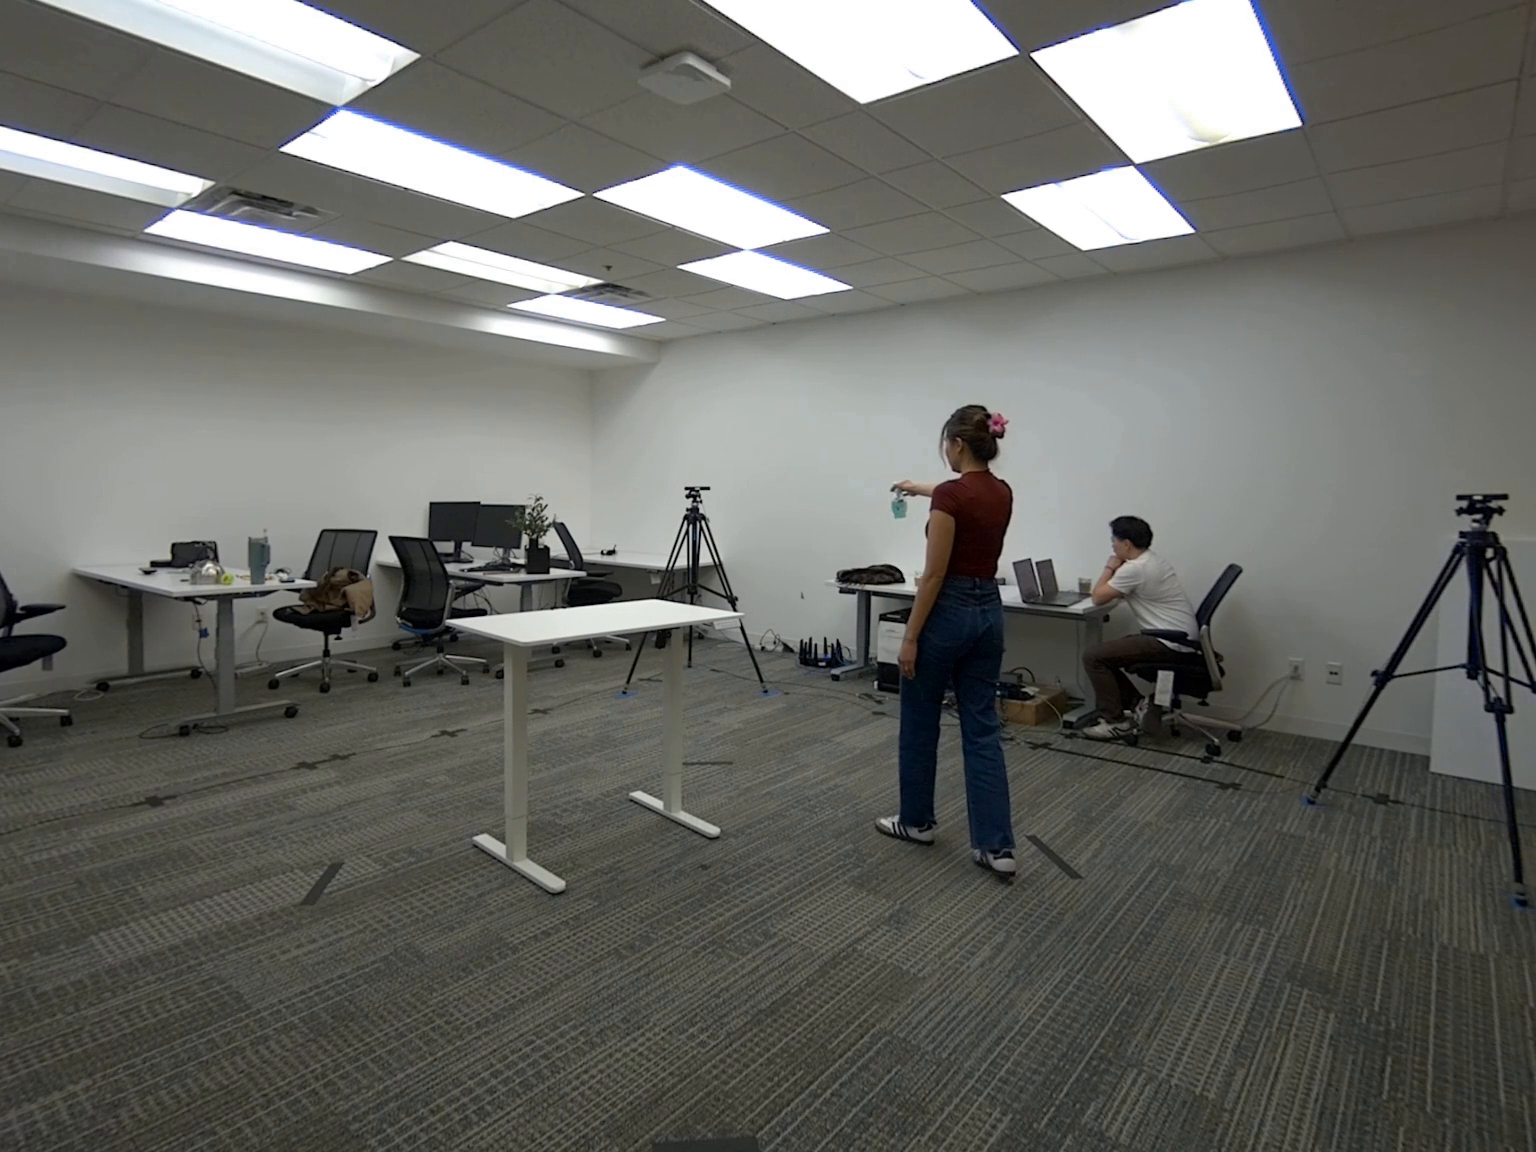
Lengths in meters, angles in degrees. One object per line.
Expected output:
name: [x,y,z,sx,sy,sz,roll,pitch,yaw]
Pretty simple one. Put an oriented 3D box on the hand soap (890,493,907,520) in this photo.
hand soap: [0.593,-0.355,3.900,0.082,0.168,0.044,-5,3,-30]
